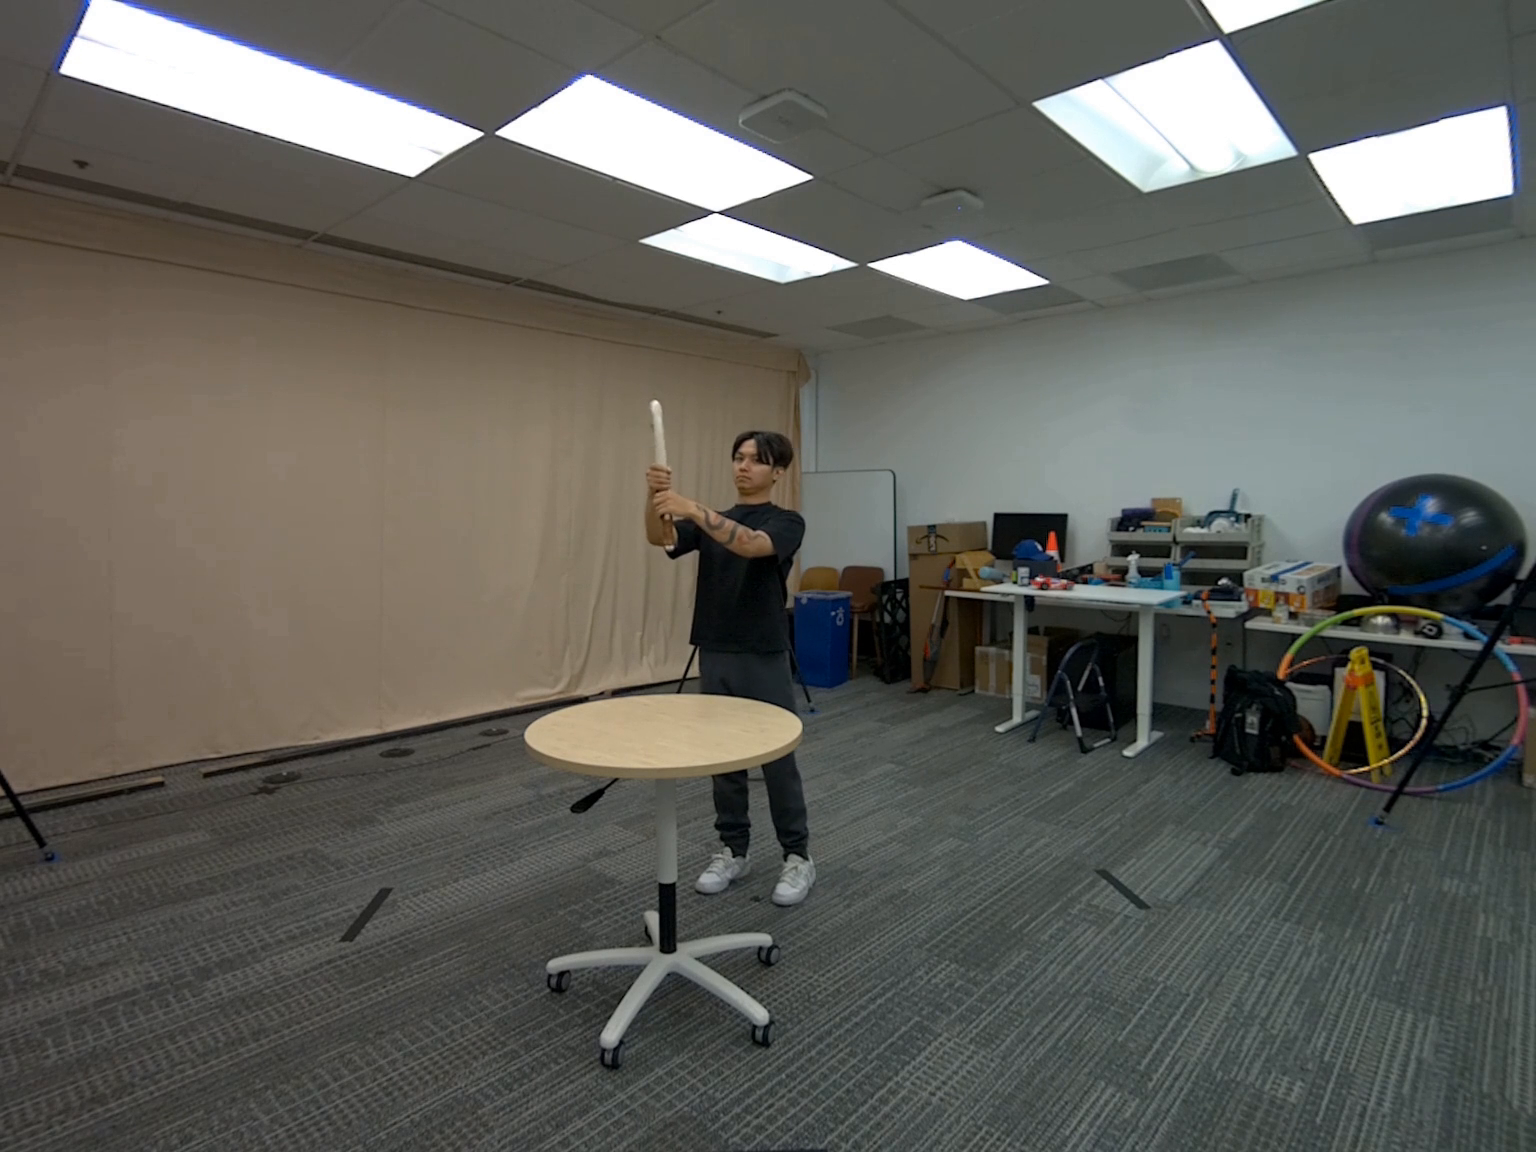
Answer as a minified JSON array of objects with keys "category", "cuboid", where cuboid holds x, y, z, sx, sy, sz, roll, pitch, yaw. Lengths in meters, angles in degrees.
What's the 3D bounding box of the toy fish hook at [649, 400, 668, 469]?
[{"category":"toy fish hook","cuboid":[-0.348,-0.333,2.795,0.048,0.507,0.225,-4,-2,-5]}]
